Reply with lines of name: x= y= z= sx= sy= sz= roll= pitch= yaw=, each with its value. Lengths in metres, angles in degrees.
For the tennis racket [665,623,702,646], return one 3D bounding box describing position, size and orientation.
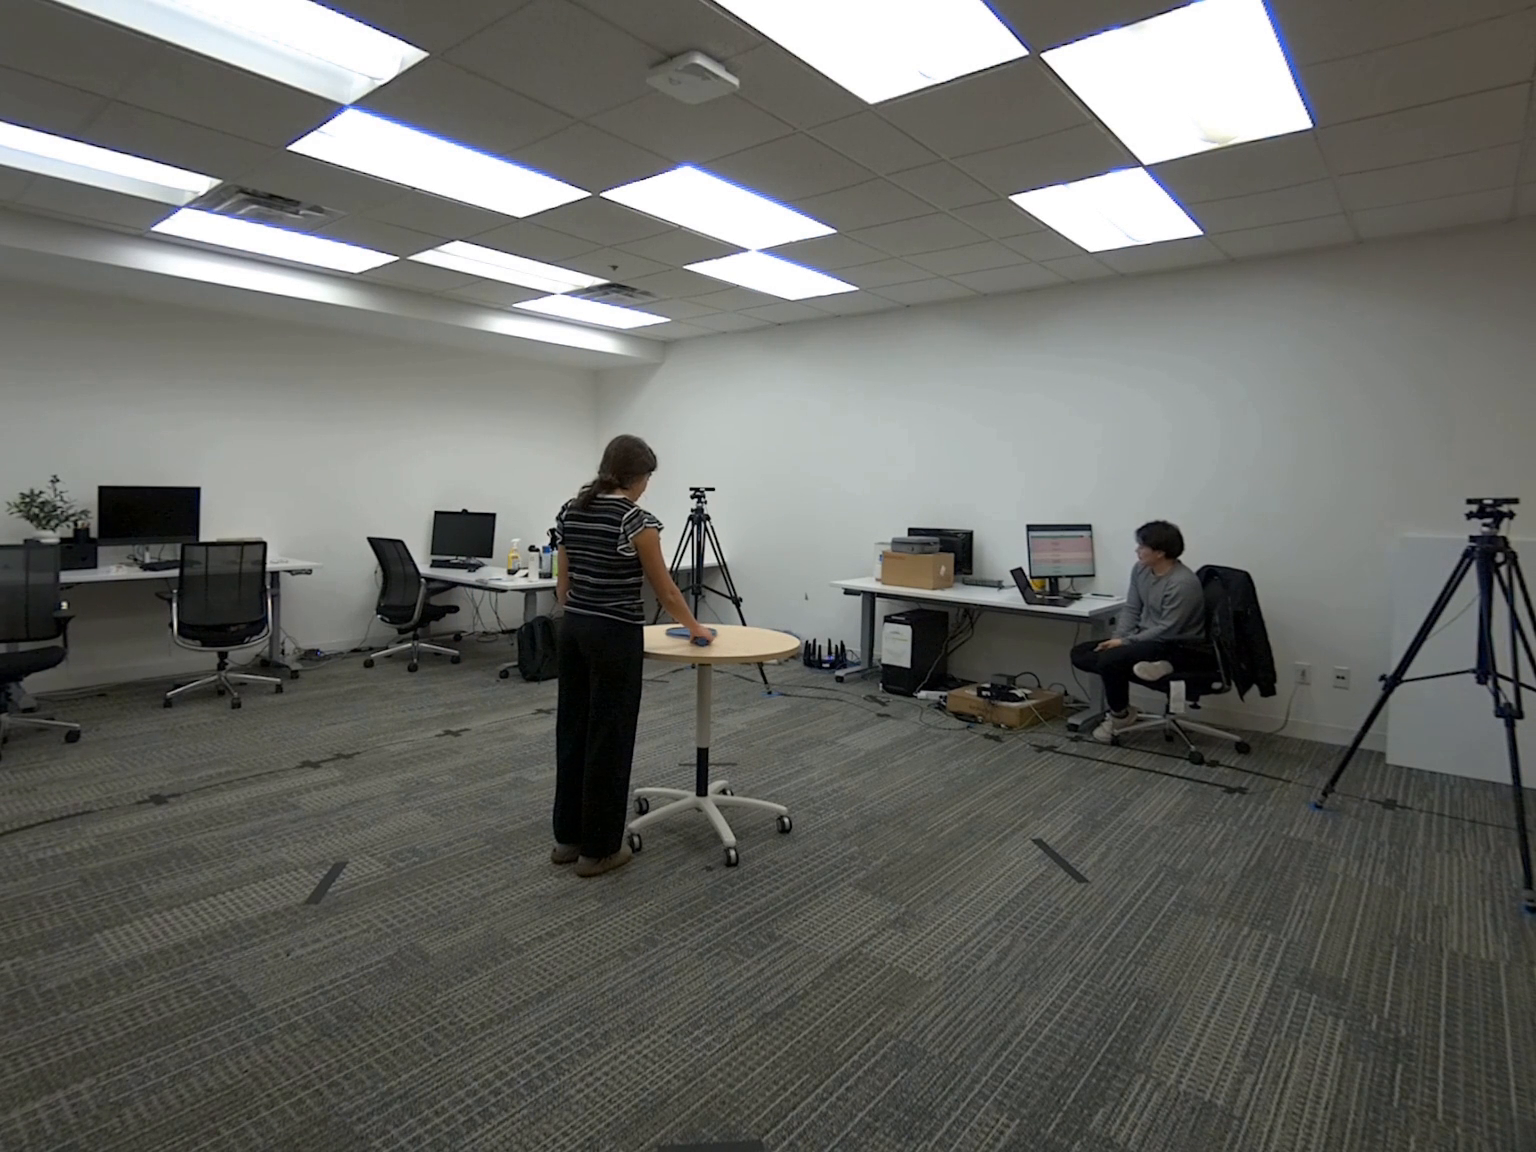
tennis racket: x=-0.310 y=0.236 z=3.463 sx=0.210 sy=0.032 sz=0.440 roll=0 pitch=4 yaw=-16
